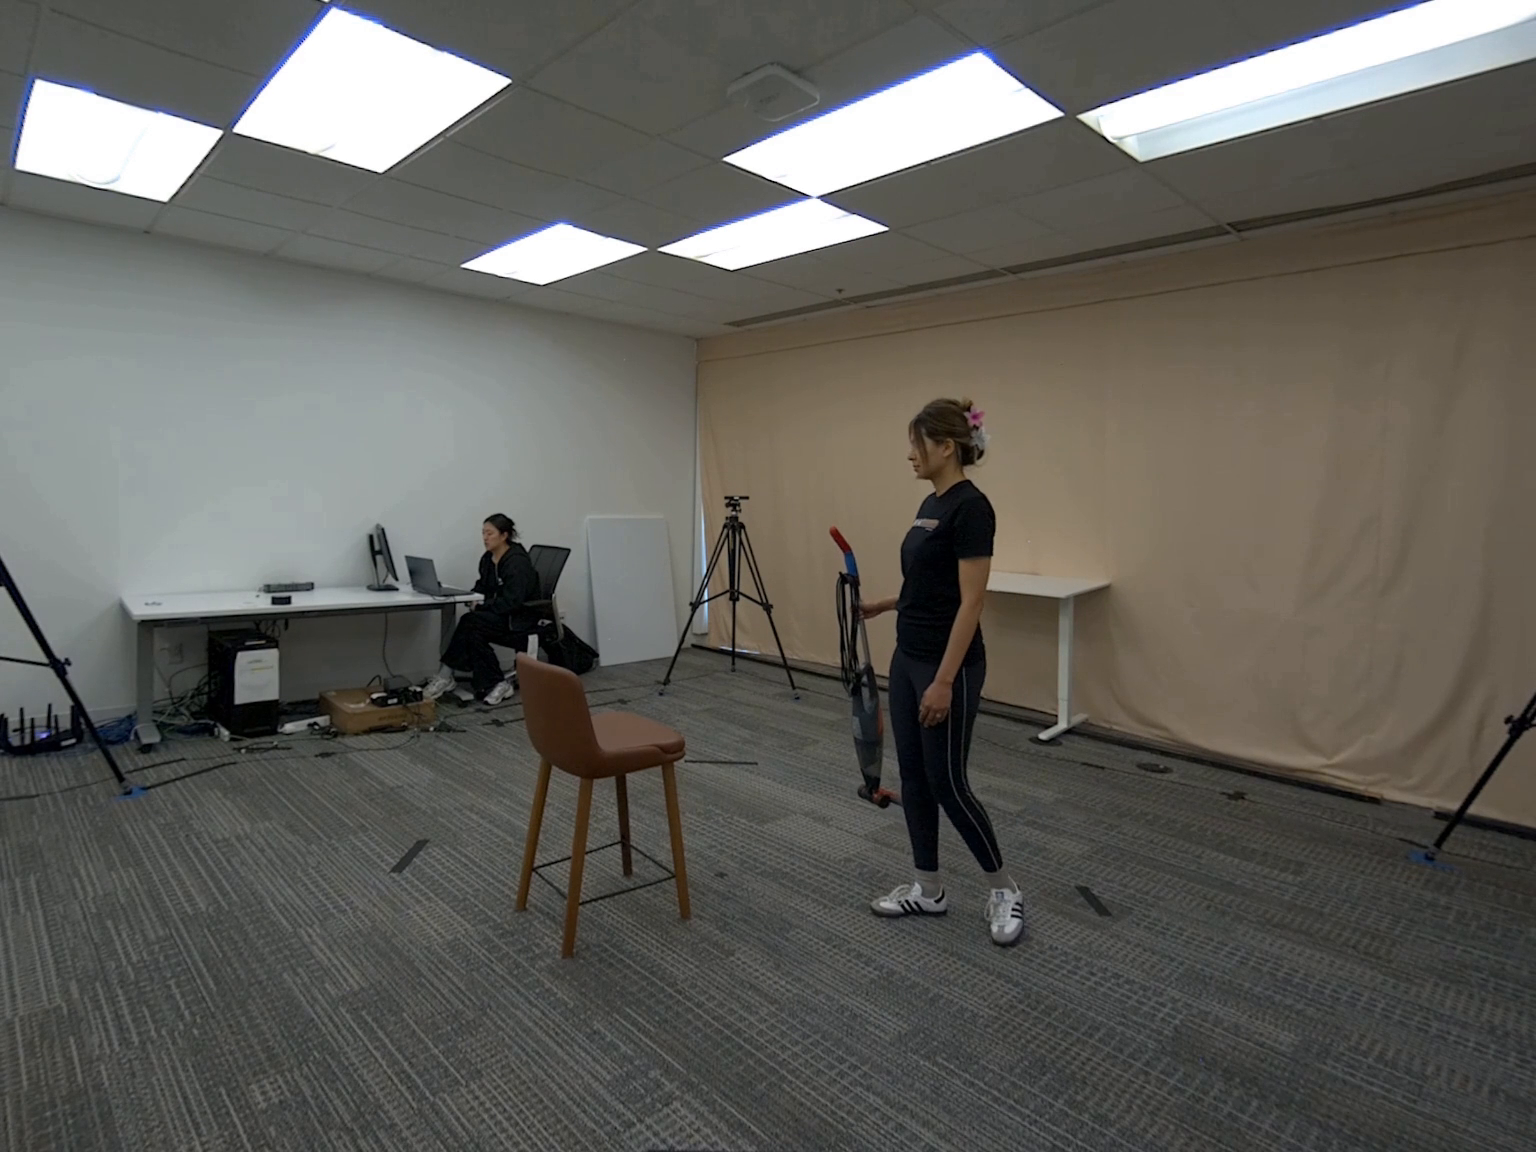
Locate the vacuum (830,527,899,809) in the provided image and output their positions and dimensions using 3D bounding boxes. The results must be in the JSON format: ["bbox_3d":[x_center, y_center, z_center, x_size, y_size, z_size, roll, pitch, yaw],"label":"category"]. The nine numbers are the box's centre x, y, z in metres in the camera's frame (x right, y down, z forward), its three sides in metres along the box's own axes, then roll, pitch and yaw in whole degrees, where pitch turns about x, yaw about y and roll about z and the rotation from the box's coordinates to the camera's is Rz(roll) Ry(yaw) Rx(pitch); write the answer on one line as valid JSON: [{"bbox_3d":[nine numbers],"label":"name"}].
[{"bbox_3d":[0.329,0.348,3.066,0.142,1.041,0.258,-16,10,-28],"label":"vacuum"}]
